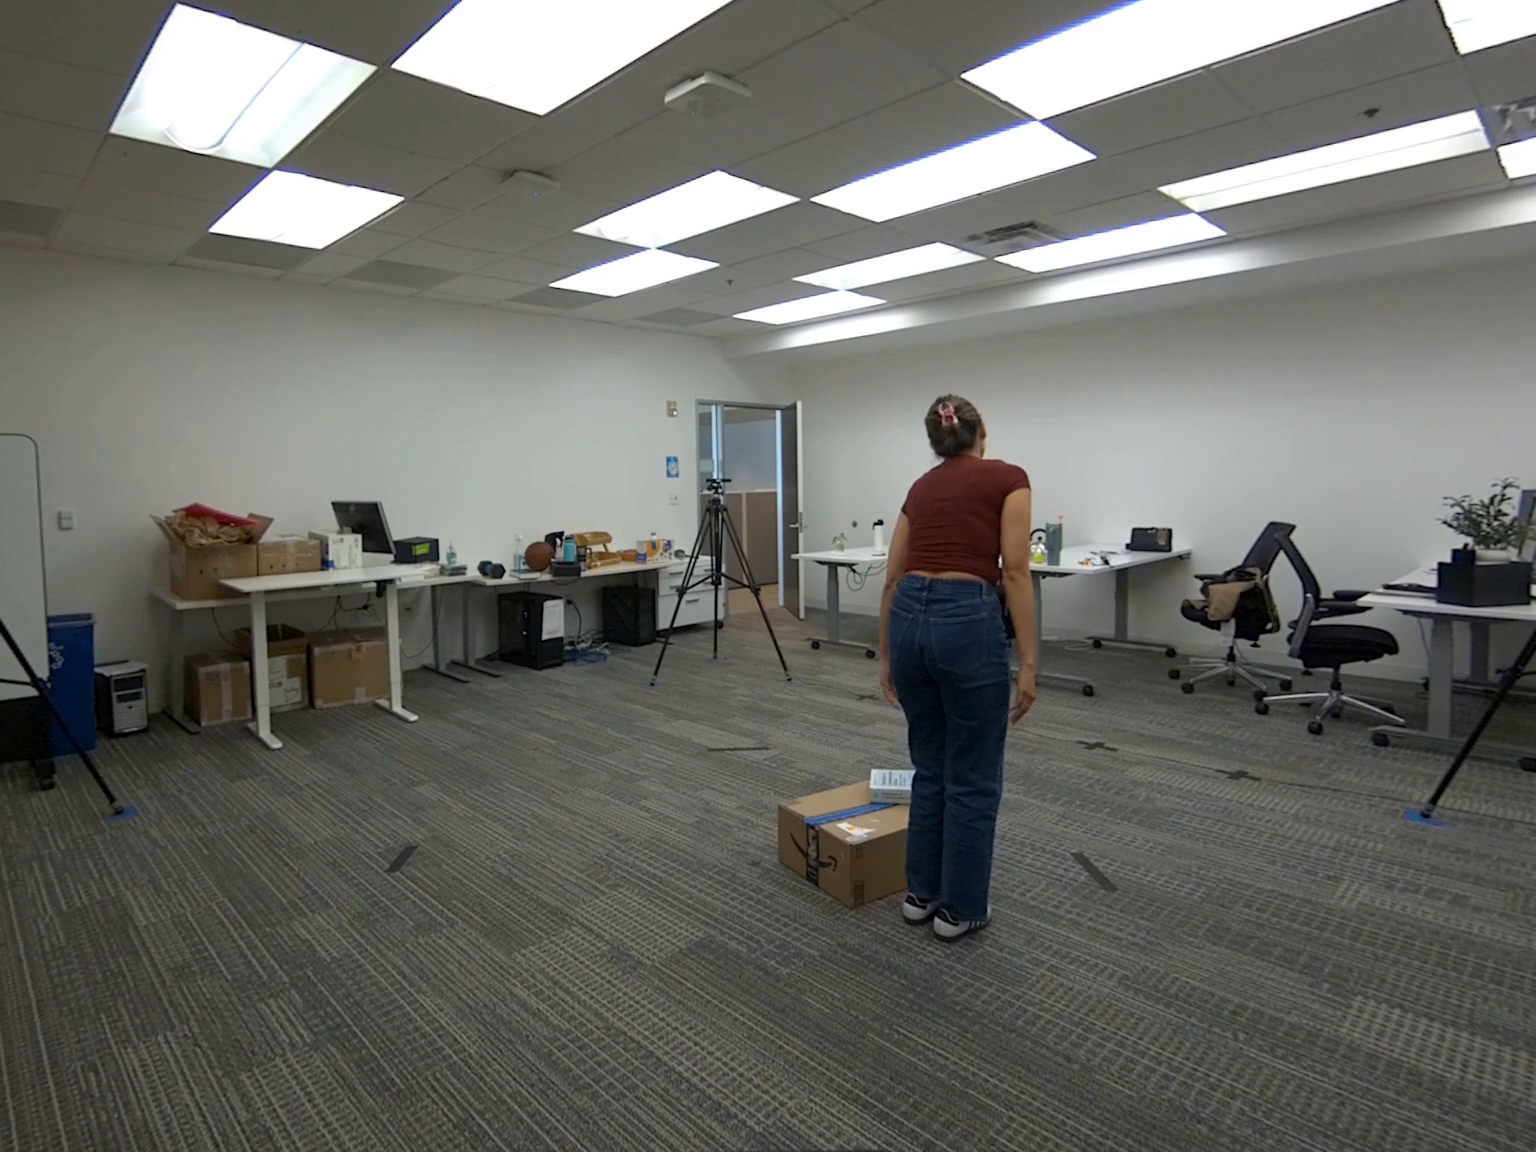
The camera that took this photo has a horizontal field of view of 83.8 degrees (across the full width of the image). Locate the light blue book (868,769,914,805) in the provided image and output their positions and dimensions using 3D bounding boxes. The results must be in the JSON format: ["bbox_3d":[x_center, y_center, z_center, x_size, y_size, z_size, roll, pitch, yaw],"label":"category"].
[{"bbox_3d":[0.518,0.783,3.182,0.264,0.059,0.190,-1,7,11],"label":"light blue book"}]
